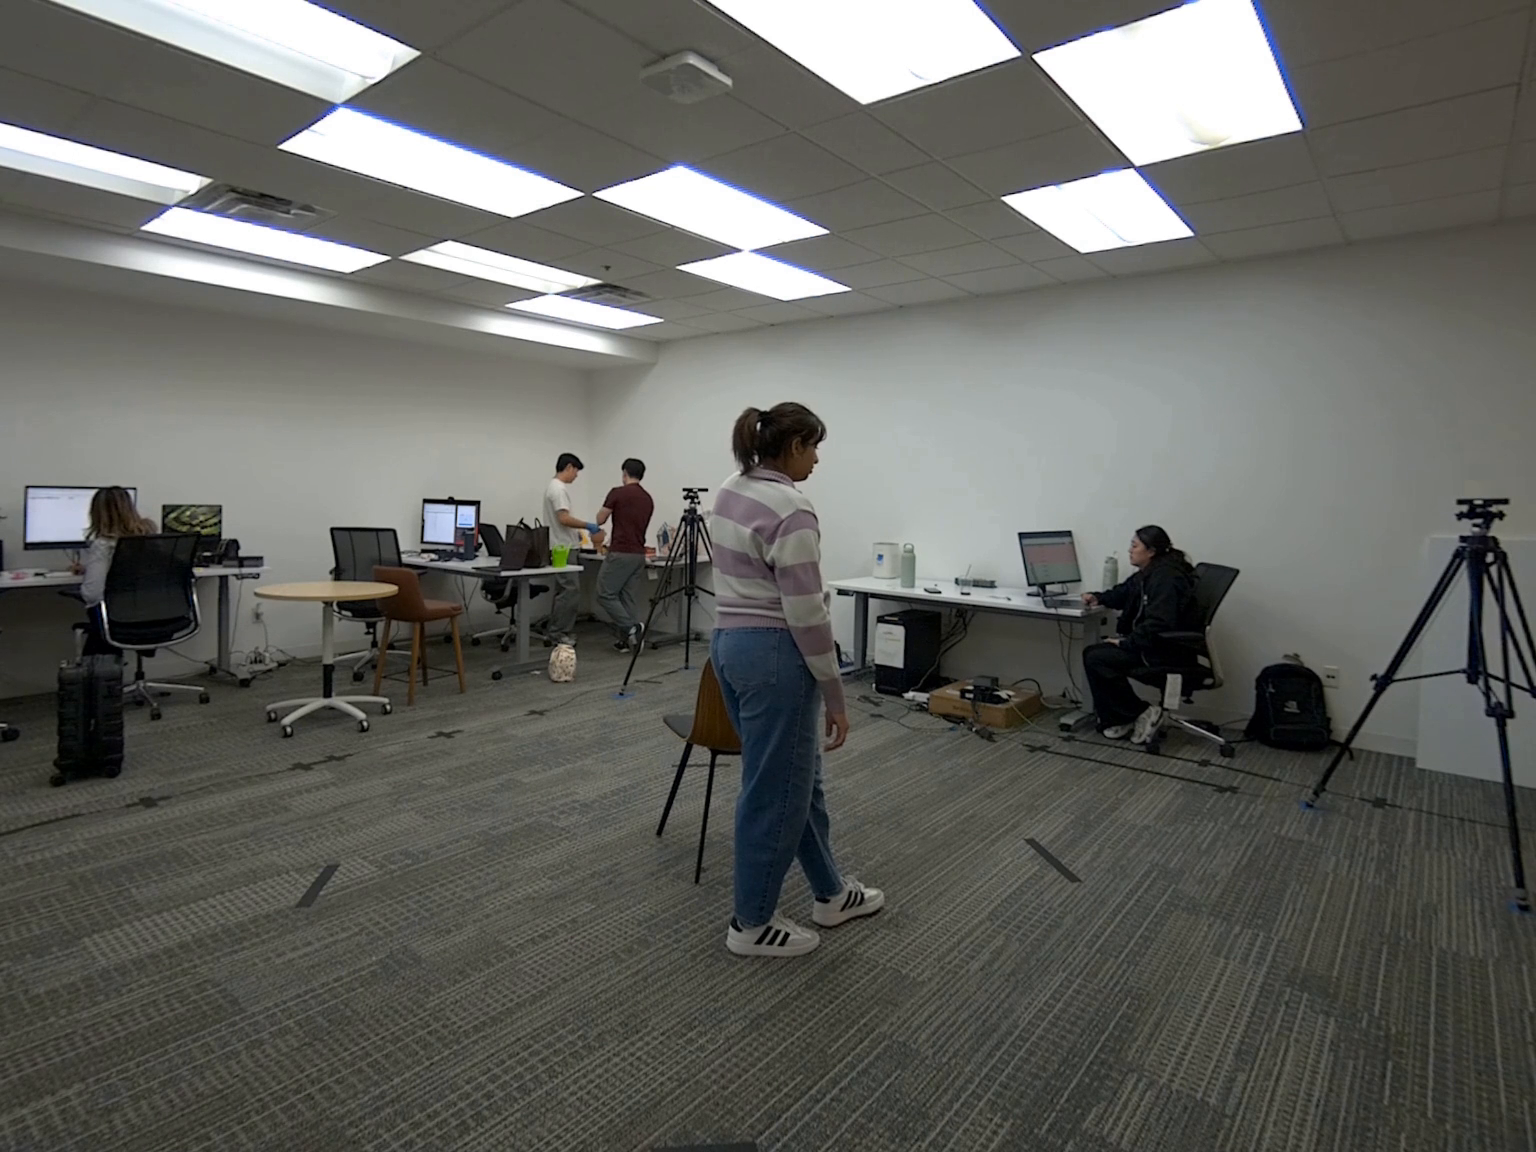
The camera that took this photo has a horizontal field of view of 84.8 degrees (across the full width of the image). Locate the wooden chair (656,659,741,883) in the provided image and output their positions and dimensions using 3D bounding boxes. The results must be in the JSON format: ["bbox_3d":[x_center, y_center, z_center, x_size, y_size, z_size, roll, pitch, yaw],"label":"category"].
[{"bbox_3d":[-0.153,0.626,3.260,0.467,0.872,0.539,0,8,-24],"label":"wooden chair"}]
